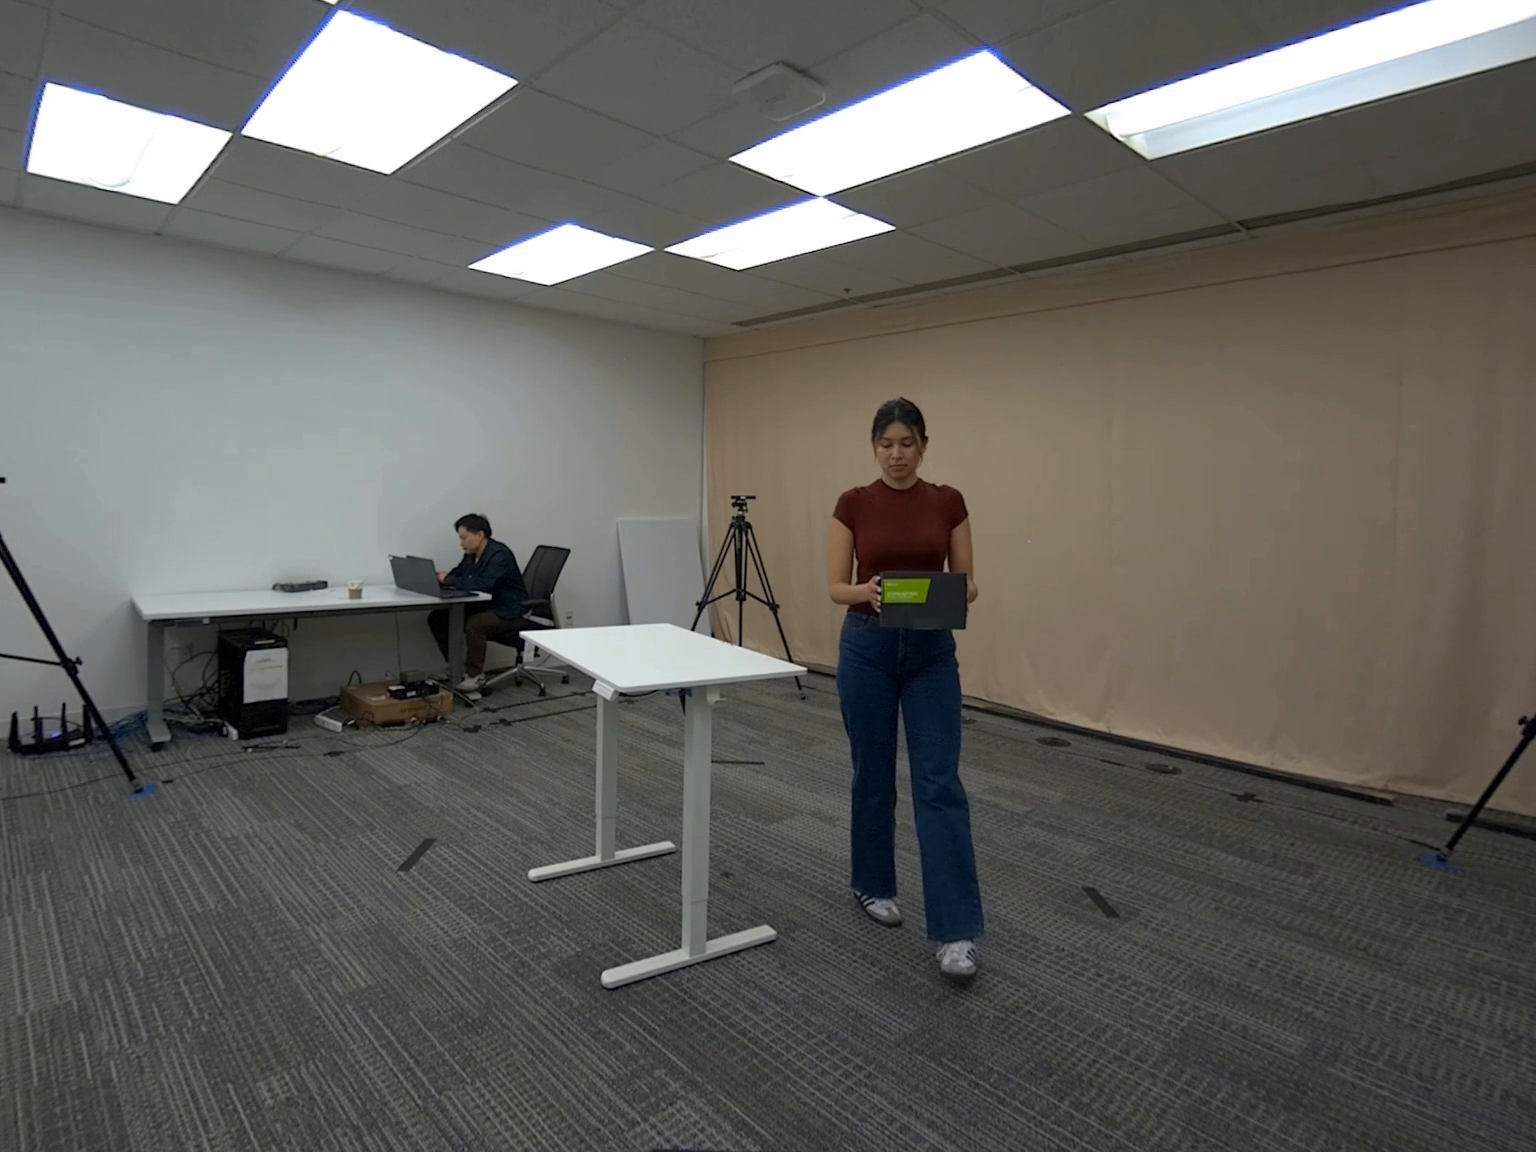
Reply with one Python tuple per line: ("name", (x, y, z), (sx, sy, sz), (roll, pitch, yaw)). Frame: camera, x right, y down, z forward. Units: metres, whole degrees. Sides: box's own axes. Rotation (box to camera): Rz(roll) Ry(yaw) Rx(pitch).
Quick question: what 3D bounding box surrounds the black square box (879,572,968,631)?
("black square box", (0.439, 0.064, 2.402), (0.230, 0.156, 0.215), (1, 1, 9))
